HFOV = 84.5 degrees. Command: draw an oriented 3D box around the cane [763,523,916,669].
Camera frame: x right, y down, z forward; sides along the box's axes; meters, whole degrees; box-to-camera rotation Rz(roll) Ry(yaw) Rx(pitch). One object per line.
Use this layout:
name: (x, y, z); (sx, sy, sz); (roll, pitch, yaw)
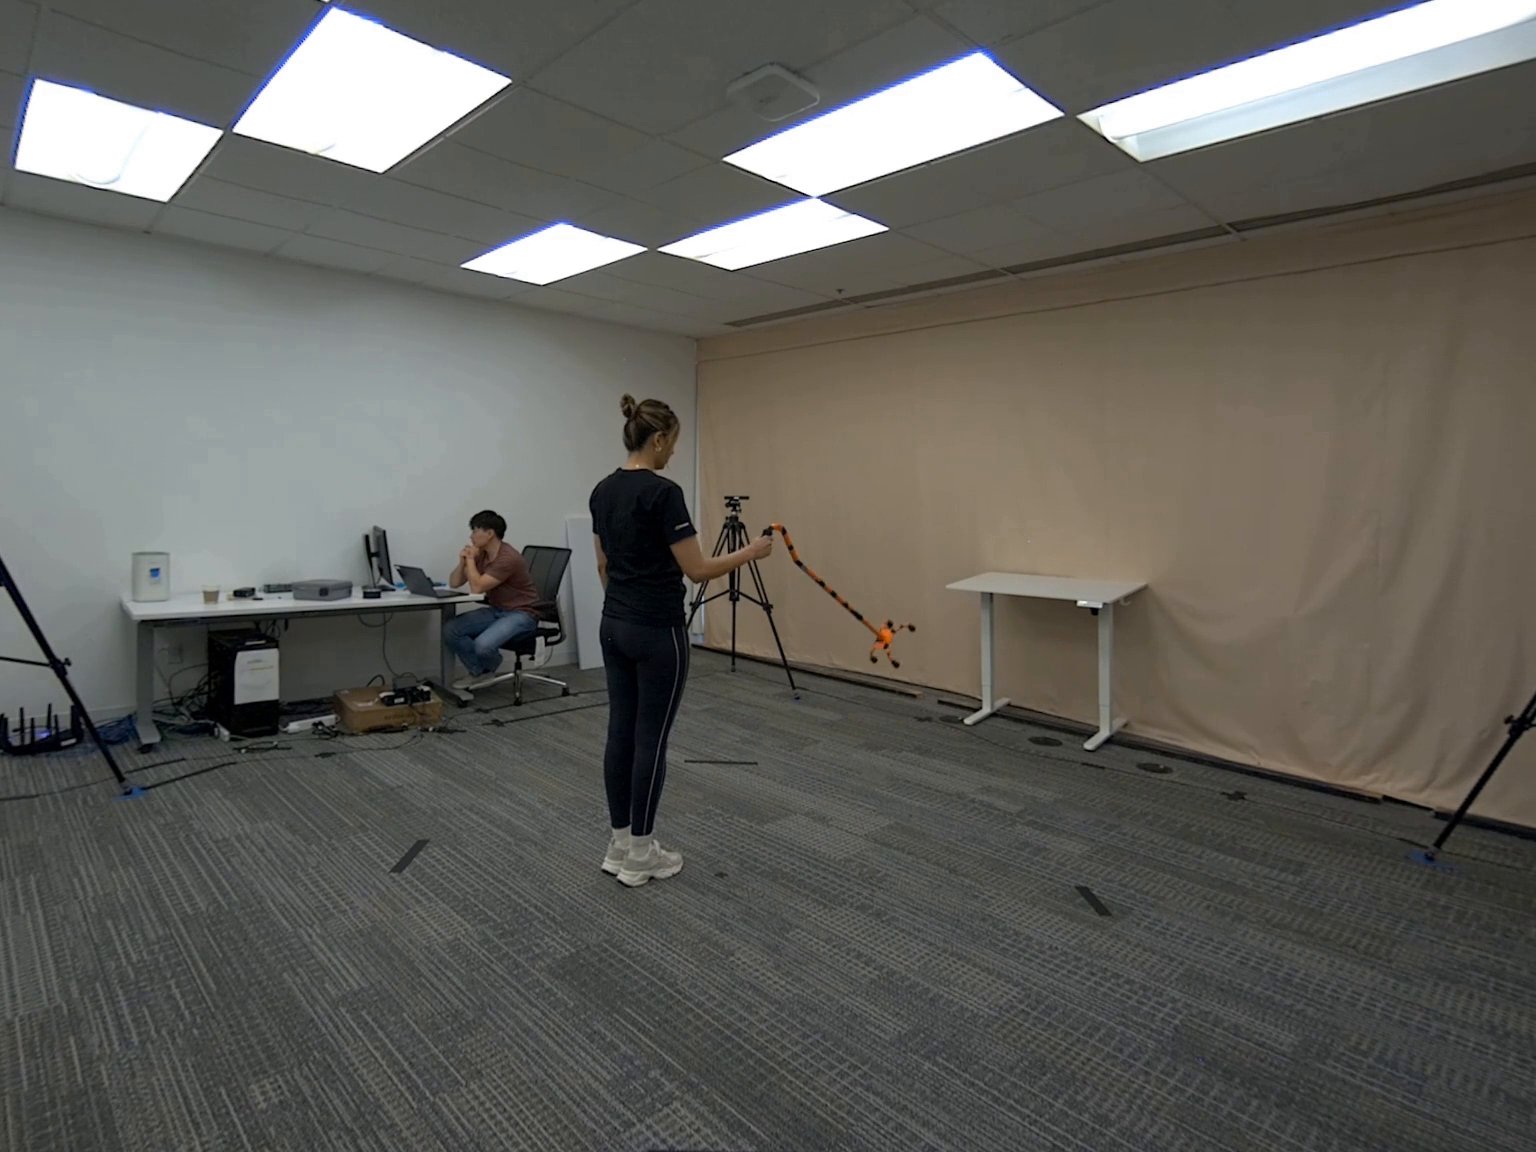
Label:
cane: (0.263, 0.086, 3.389); (0.881, 0.207, 0.155); (40, -19, -35)
